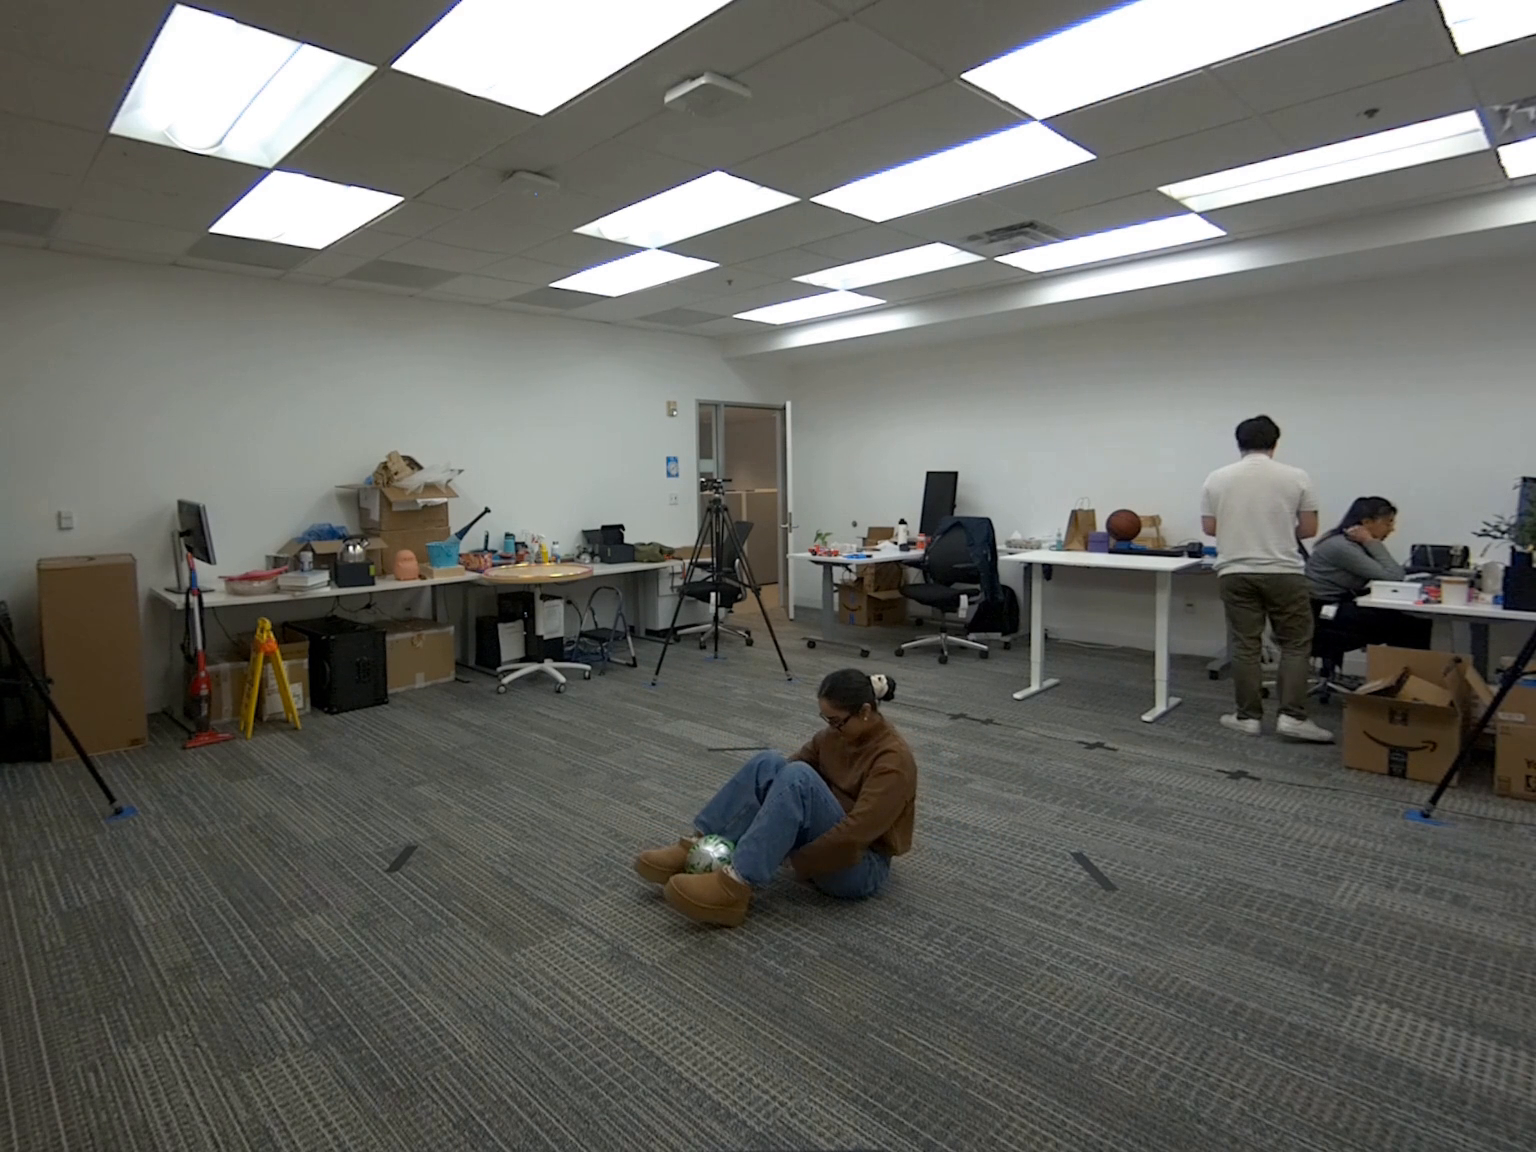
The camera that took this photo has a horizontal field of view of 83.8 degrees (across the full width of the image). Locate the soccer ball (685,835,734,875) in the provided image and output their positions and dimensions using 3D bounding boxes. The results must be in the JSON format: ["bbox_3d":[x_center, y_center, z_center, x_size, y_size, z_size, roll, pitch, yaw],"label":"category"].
[{"bbox_3d":[-0.174,0.957,2.805,0.187,0.187,0.188,-1,5,-2],"label":"soccer ball"}]
